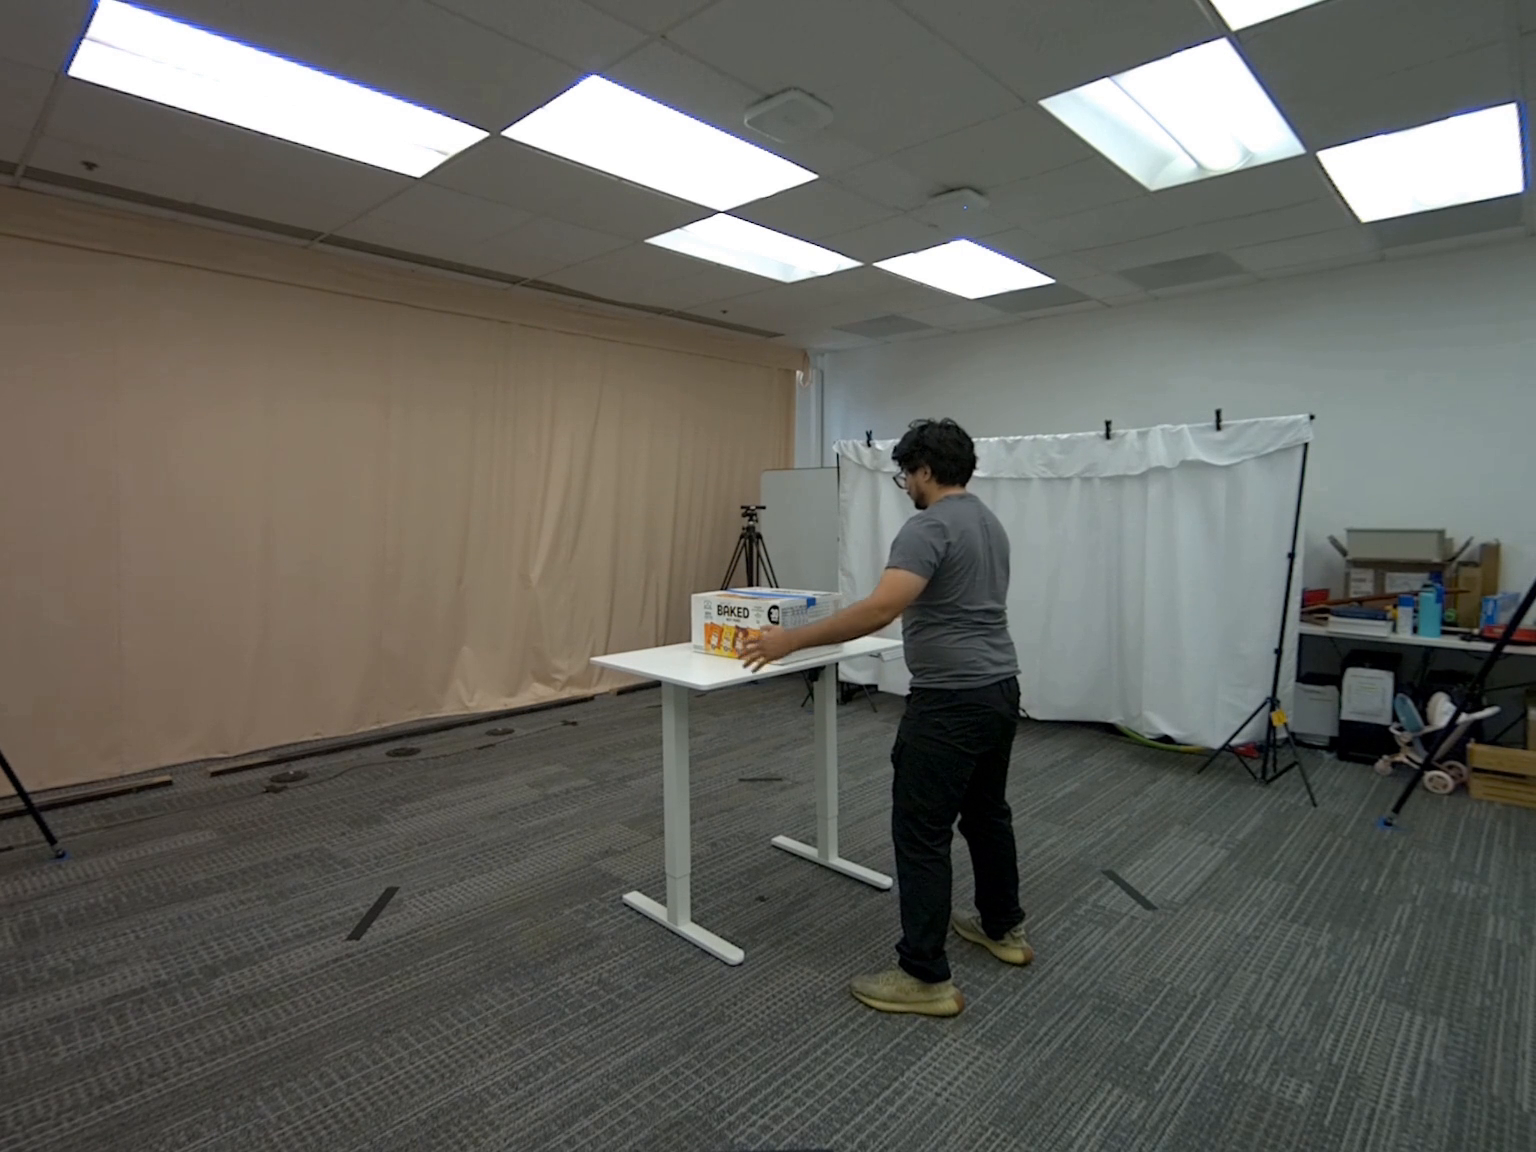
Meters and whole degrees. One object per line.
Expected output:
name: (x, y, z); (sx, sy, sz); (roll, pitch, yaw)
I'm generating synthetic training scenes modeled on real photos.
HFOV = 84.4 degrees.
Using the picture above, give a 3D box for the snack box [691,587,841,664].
snack box: (0.003, 0.164, 2.922); (0.419, 0.205, 0.330); (3, 6, 43)
